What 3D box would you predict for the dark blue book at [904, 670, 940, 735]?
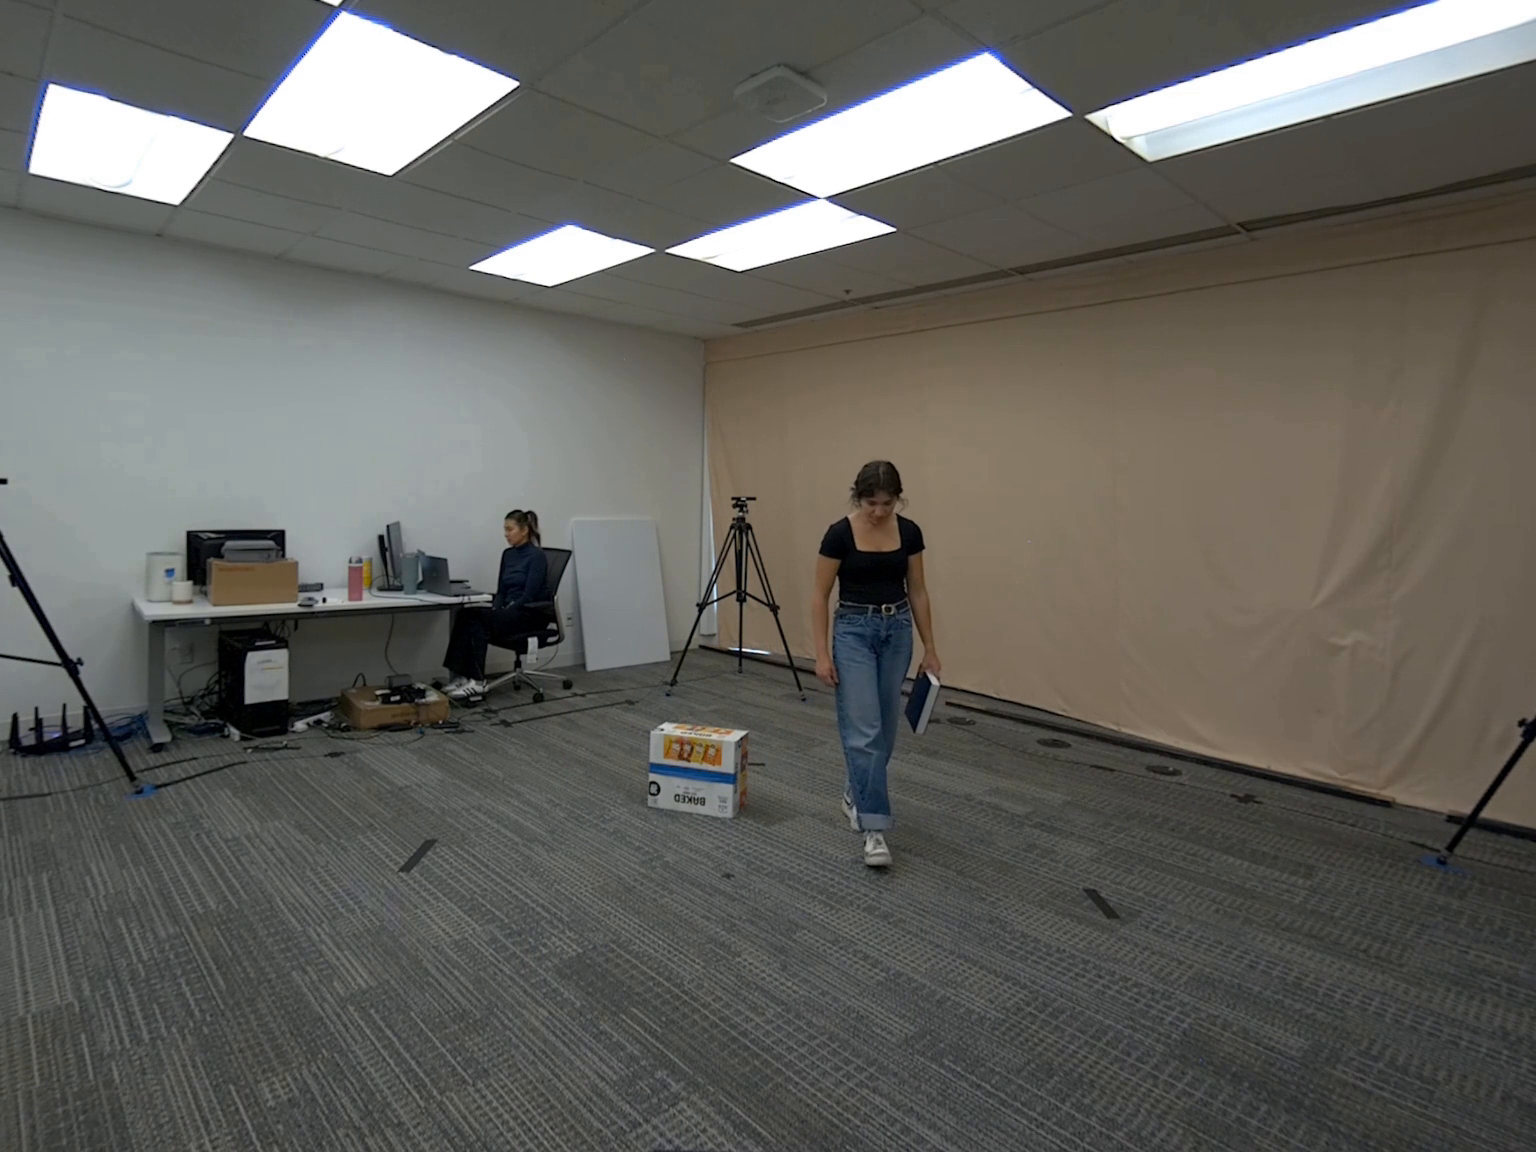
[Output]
[{"bbox_3d":[0.625,0.509,3.489,0.045,0.242,0.167,8,20,-12],"label":"dark blue book"}]
